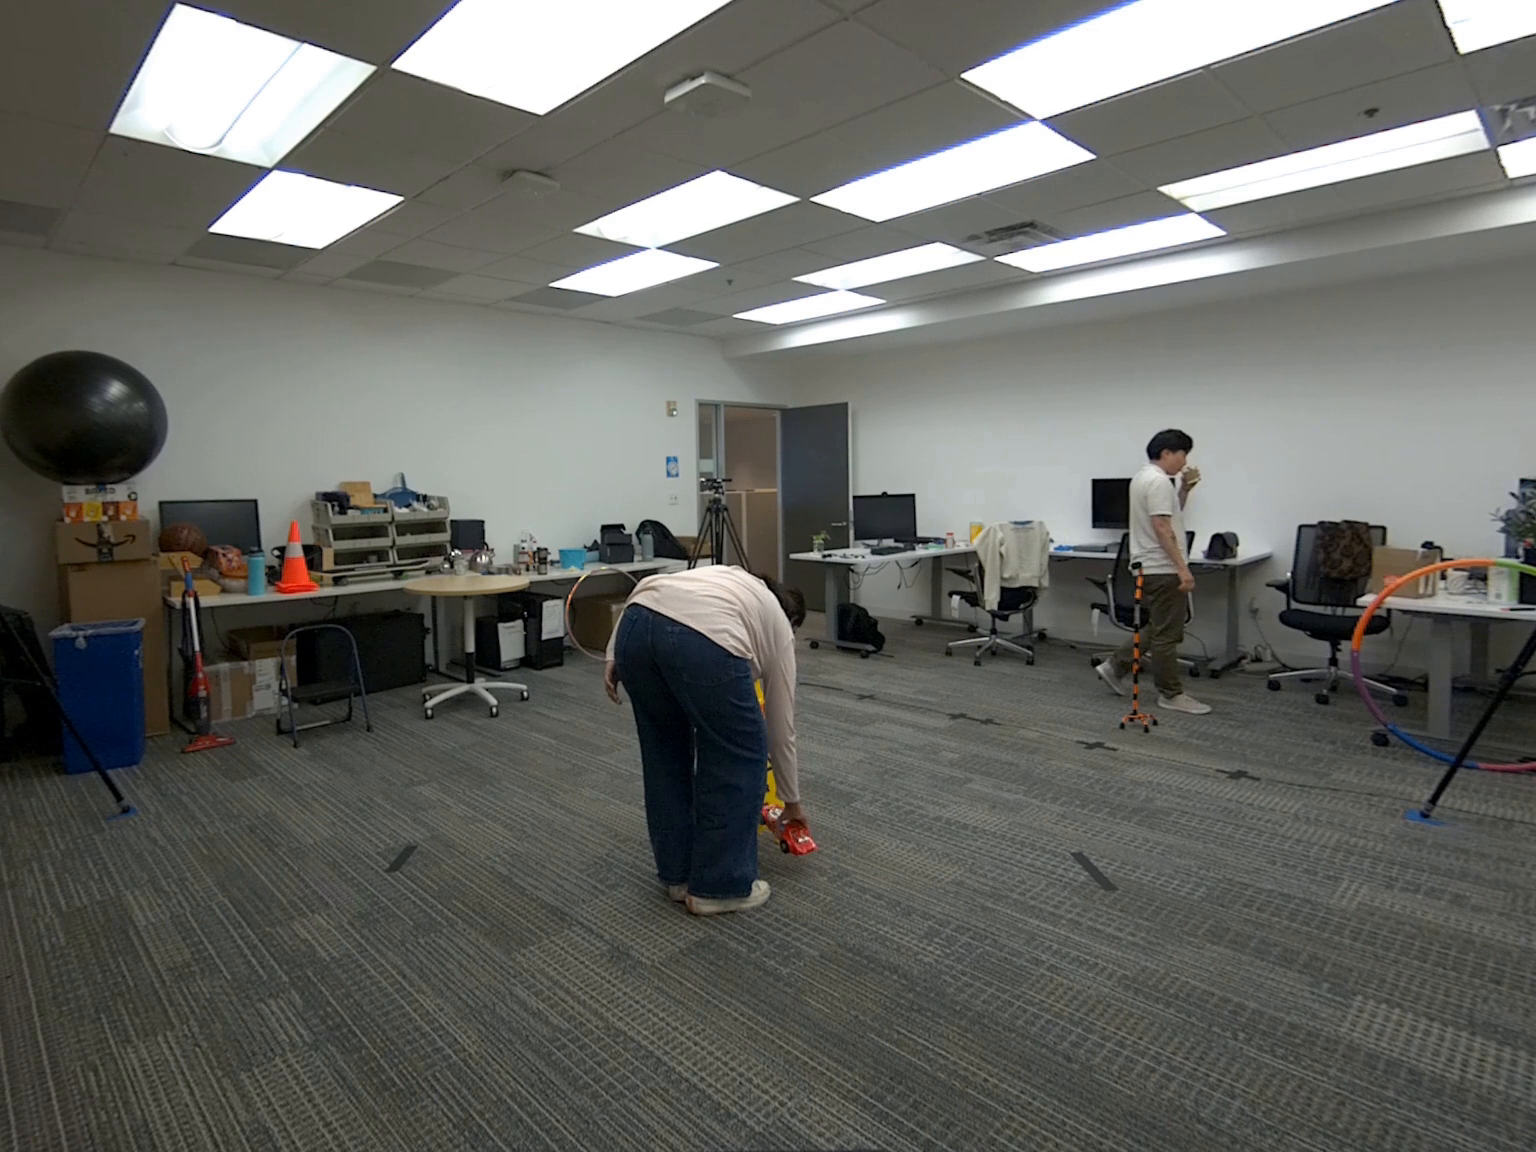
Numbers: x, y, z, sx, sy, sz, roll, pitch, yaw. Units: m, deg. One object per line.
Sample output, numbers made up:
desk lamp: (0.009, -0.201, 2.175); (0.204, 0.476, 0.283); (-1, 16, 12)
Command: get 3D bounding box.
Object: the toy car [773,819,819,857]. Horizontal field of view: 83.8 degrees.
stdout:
toy car: (0.065, 0.918, 3.082); (0.127, 0.082, 0.264); (-3, 20, -37)
